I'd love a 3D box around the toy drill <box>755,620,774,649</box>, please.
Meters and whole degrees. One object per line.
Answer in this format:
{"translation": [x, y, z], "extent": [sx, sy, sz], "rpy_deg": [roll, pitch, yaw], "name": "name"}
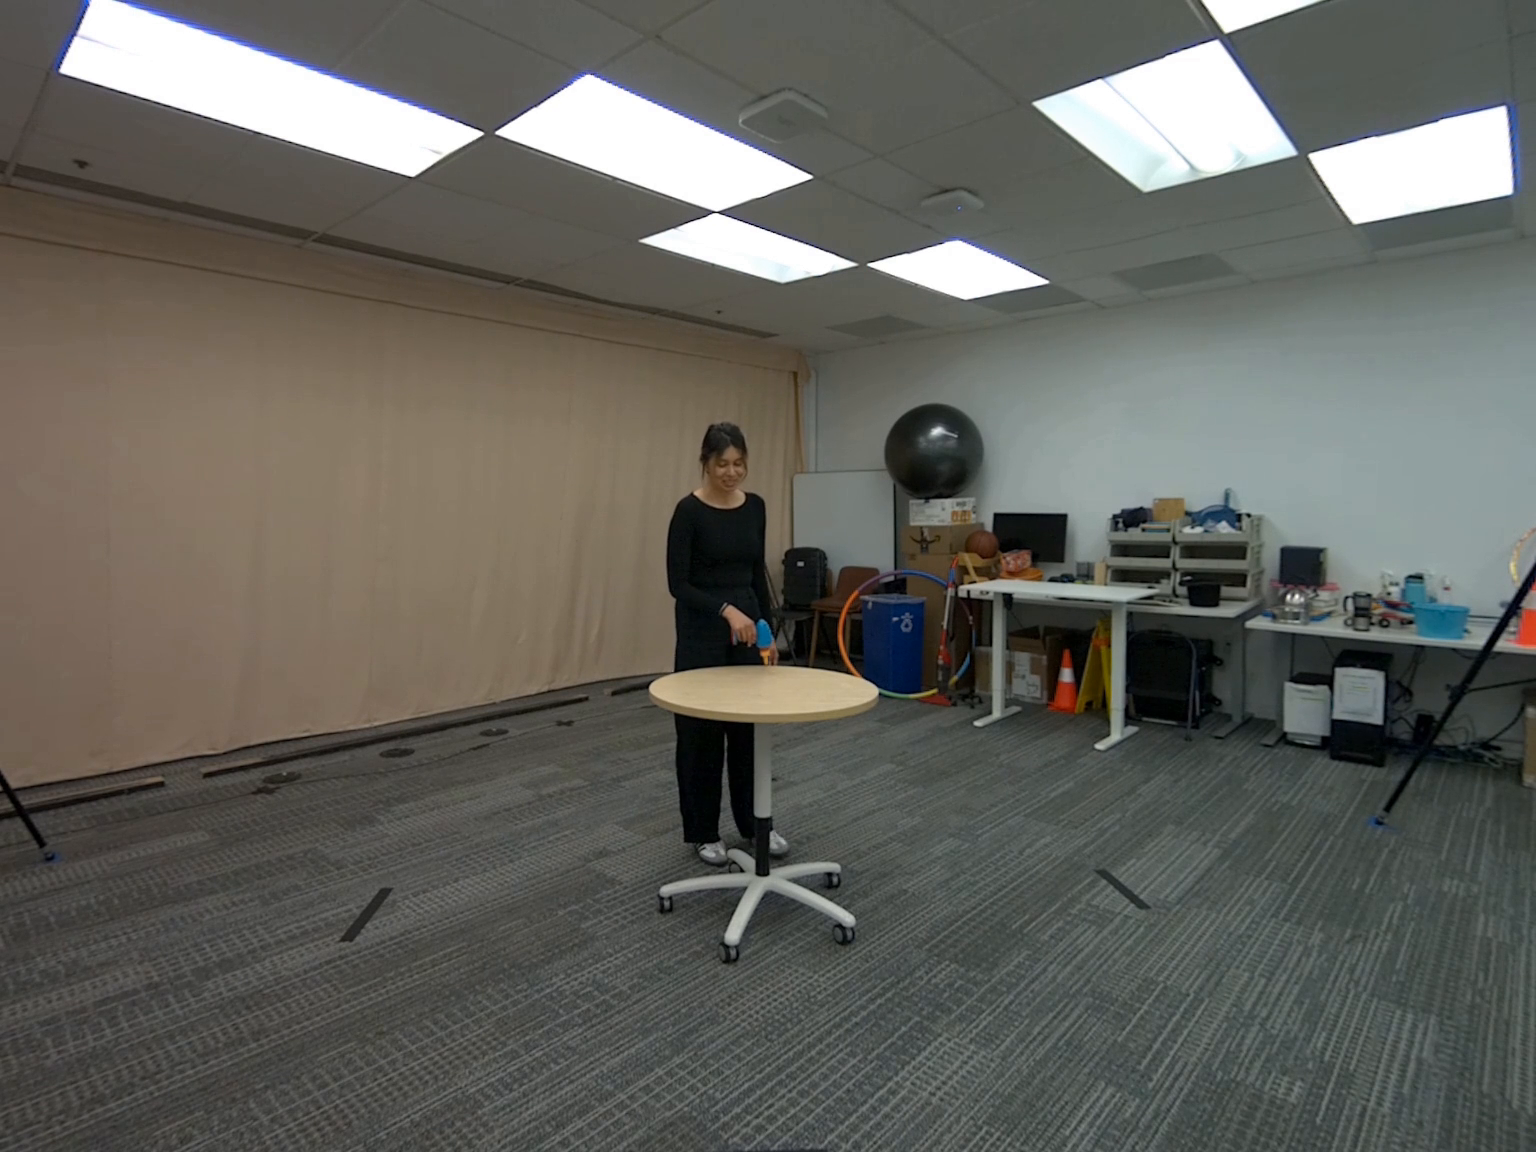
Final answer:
{"translation": [-0.064, 0.248, 3.086], "extent": [0.147, 0.169, 0.061], "rpy_deg": [-6, 9, 7], "name": "toy drill"}
